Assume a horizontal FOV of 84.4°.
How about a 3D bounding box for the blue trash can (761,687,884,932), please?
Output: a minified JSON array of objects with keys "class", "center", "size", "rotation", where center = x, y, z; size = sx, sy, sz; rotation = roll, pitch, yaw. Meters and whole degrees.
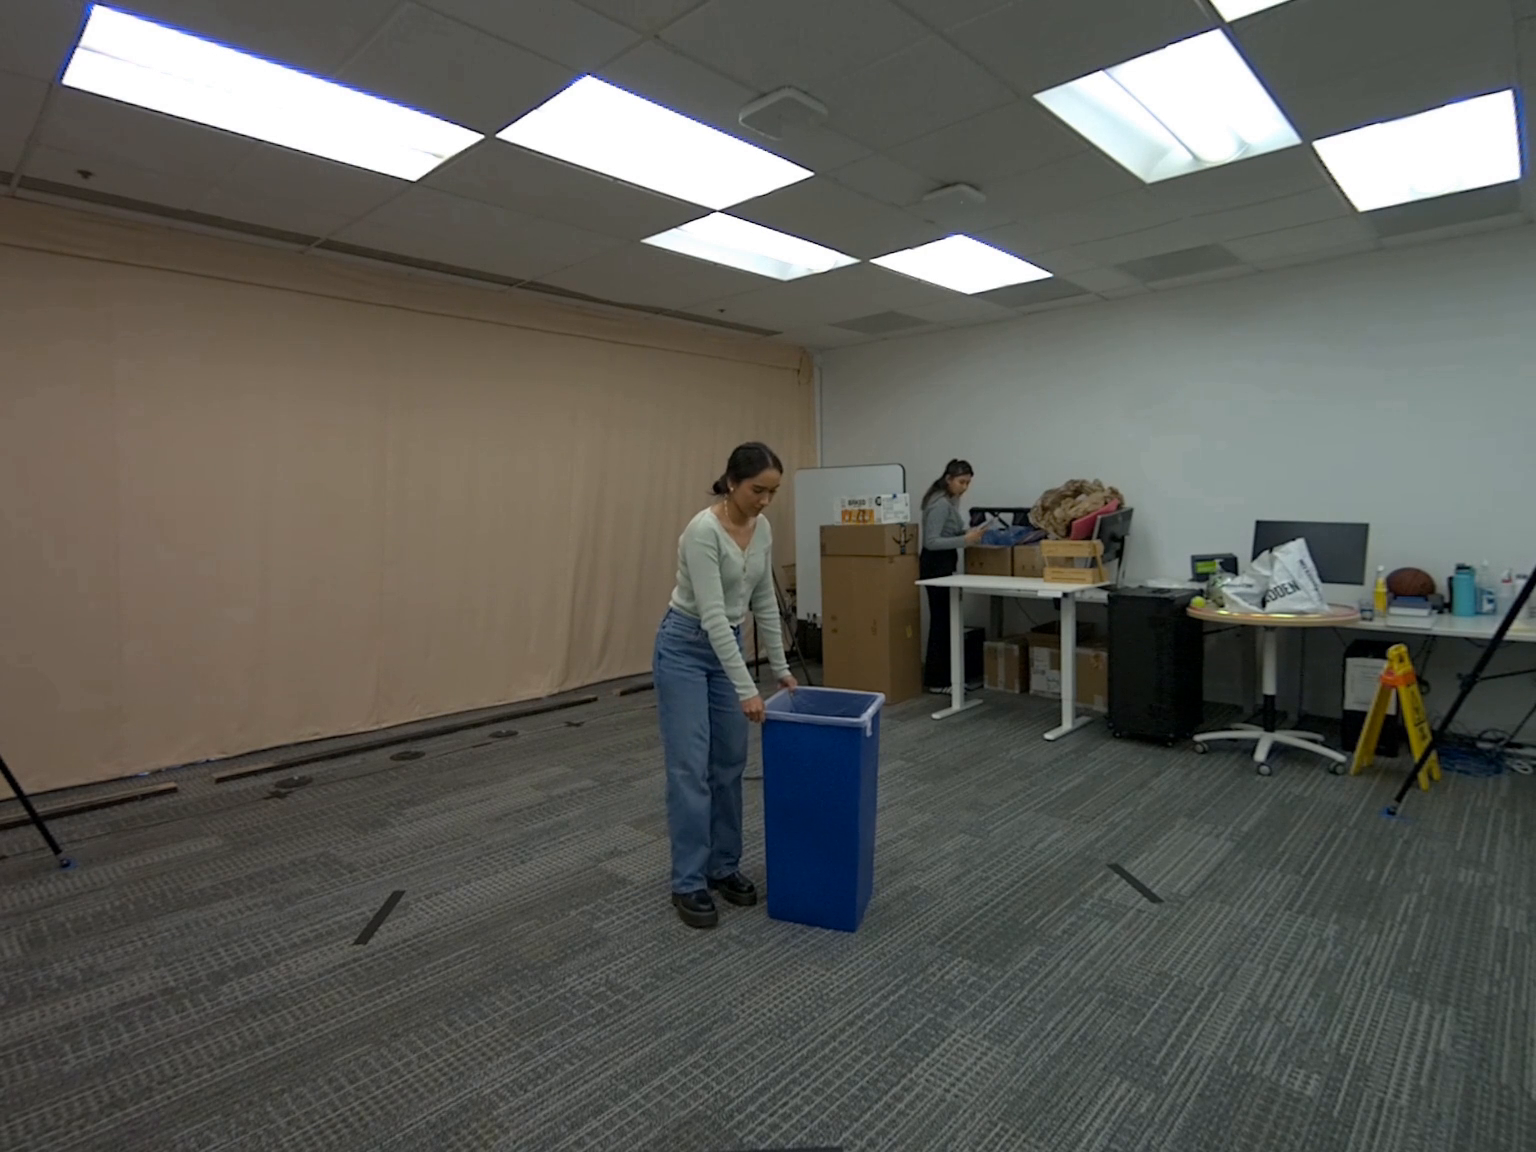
[{"class":"blue trash can","center":[0.181,0.781,2.881],"size":[0.382,0.711,0.371],"rotation":[2,6,20]}]
